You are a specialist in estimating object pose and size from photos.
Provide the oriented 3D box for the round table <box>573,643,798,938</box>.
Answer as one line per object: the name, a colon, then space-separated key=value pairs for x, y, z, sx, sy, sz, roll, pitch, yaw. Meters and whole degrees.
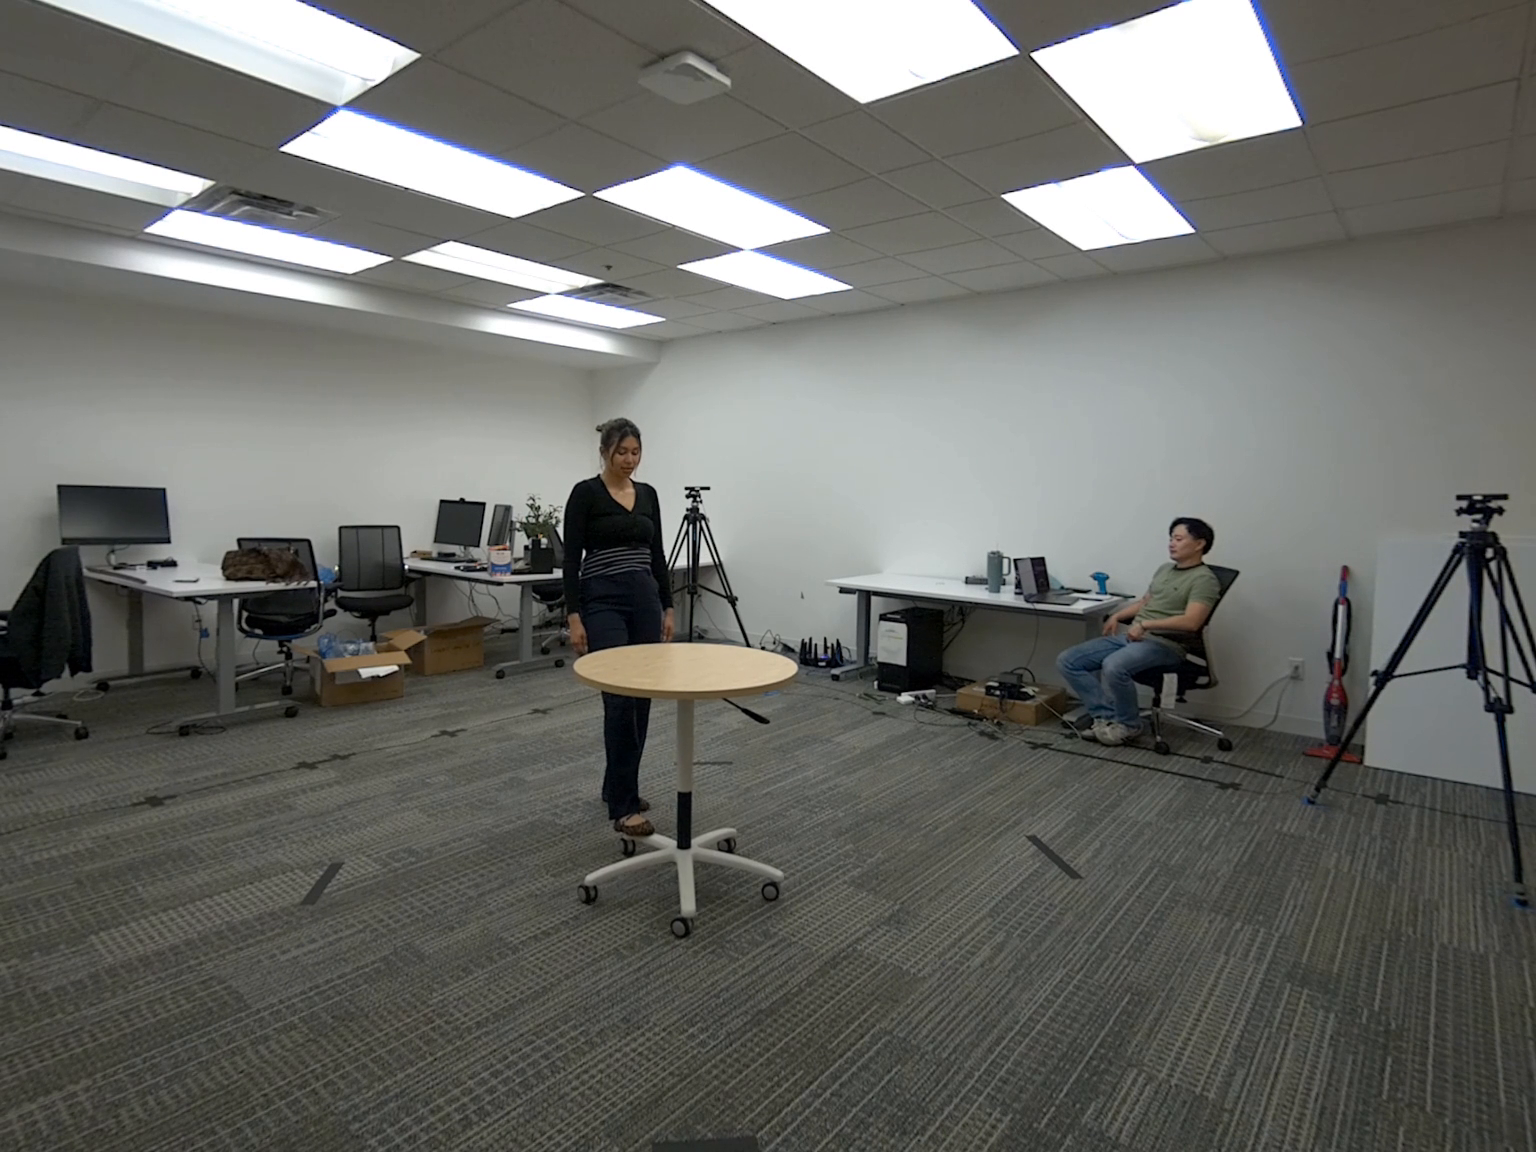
round table: x=-0.295 y=0.692 z=2.943 sx=0.763 sy=0.791 sz=0.768 roll=1 pitch=5 yaw=-2
